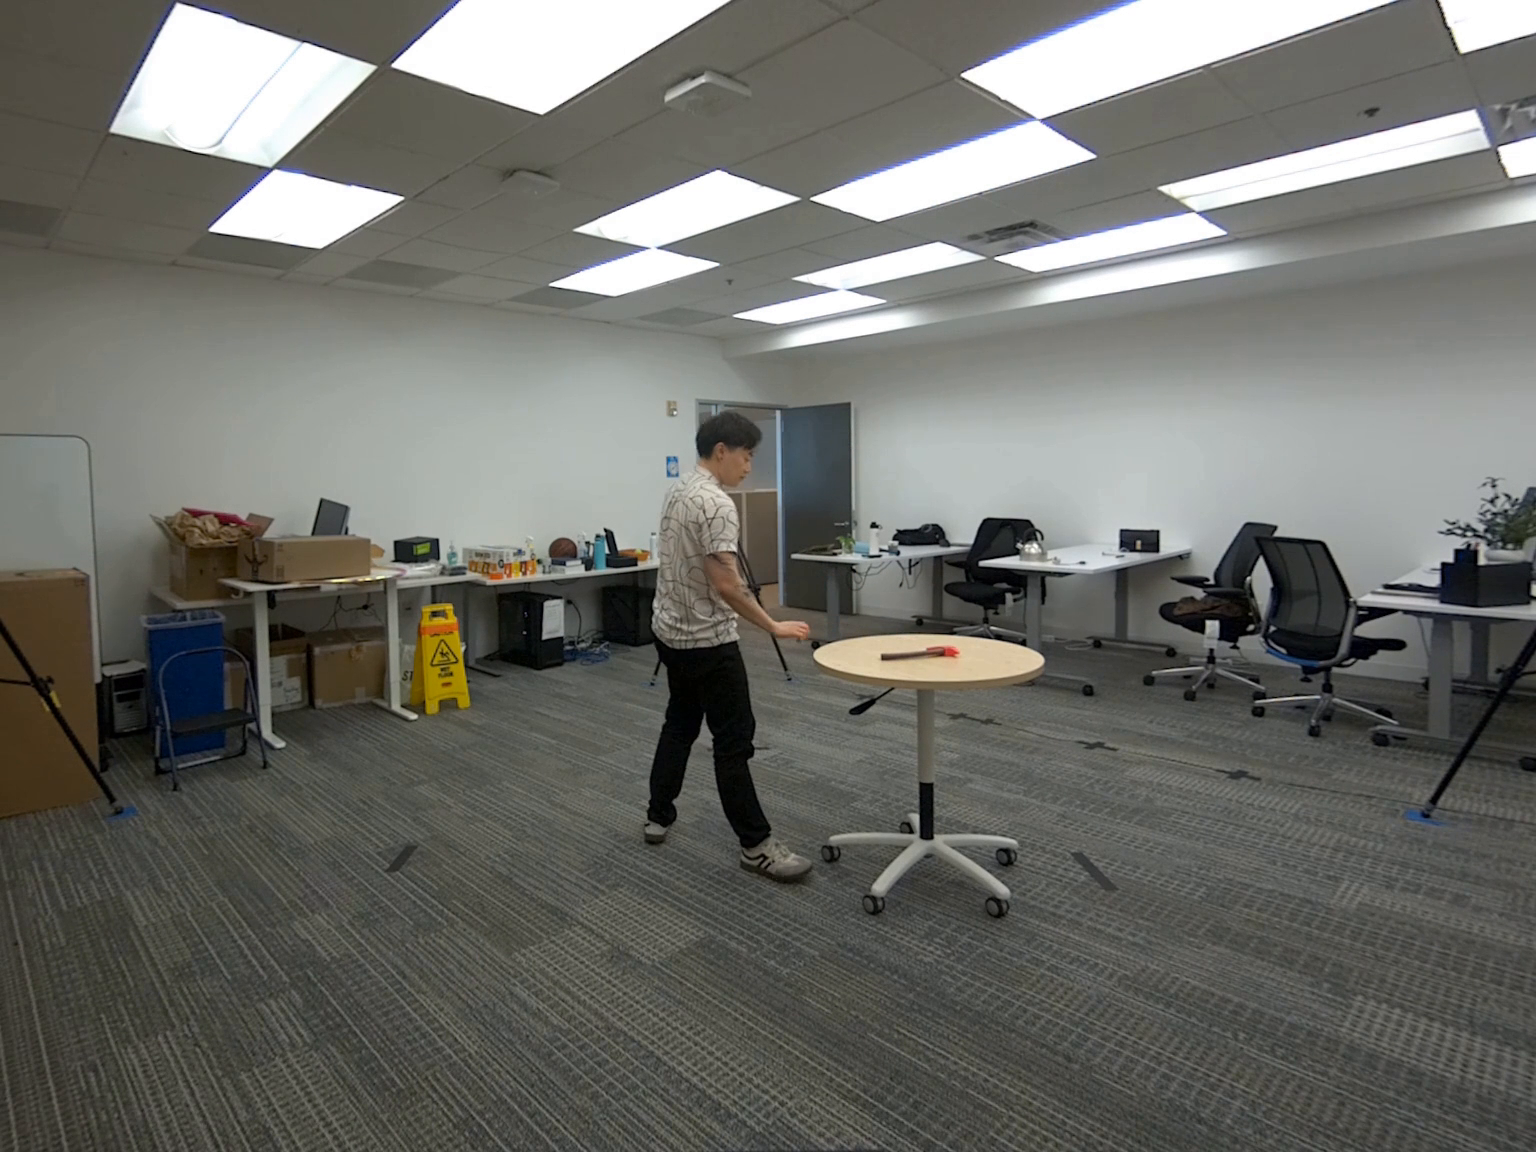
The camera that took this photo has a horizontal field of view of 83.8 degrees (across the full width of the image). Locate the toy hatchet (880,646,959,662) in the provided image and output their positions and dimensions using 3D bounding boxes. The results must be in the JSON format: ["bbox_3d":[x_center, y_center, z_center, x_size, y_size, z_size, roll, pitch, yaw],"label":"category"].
[{"bbox_3d":[0.508,0.261,2.915,0.270,0.029,0.131,-2,5,-1],"label":"toy hatchet"}]
